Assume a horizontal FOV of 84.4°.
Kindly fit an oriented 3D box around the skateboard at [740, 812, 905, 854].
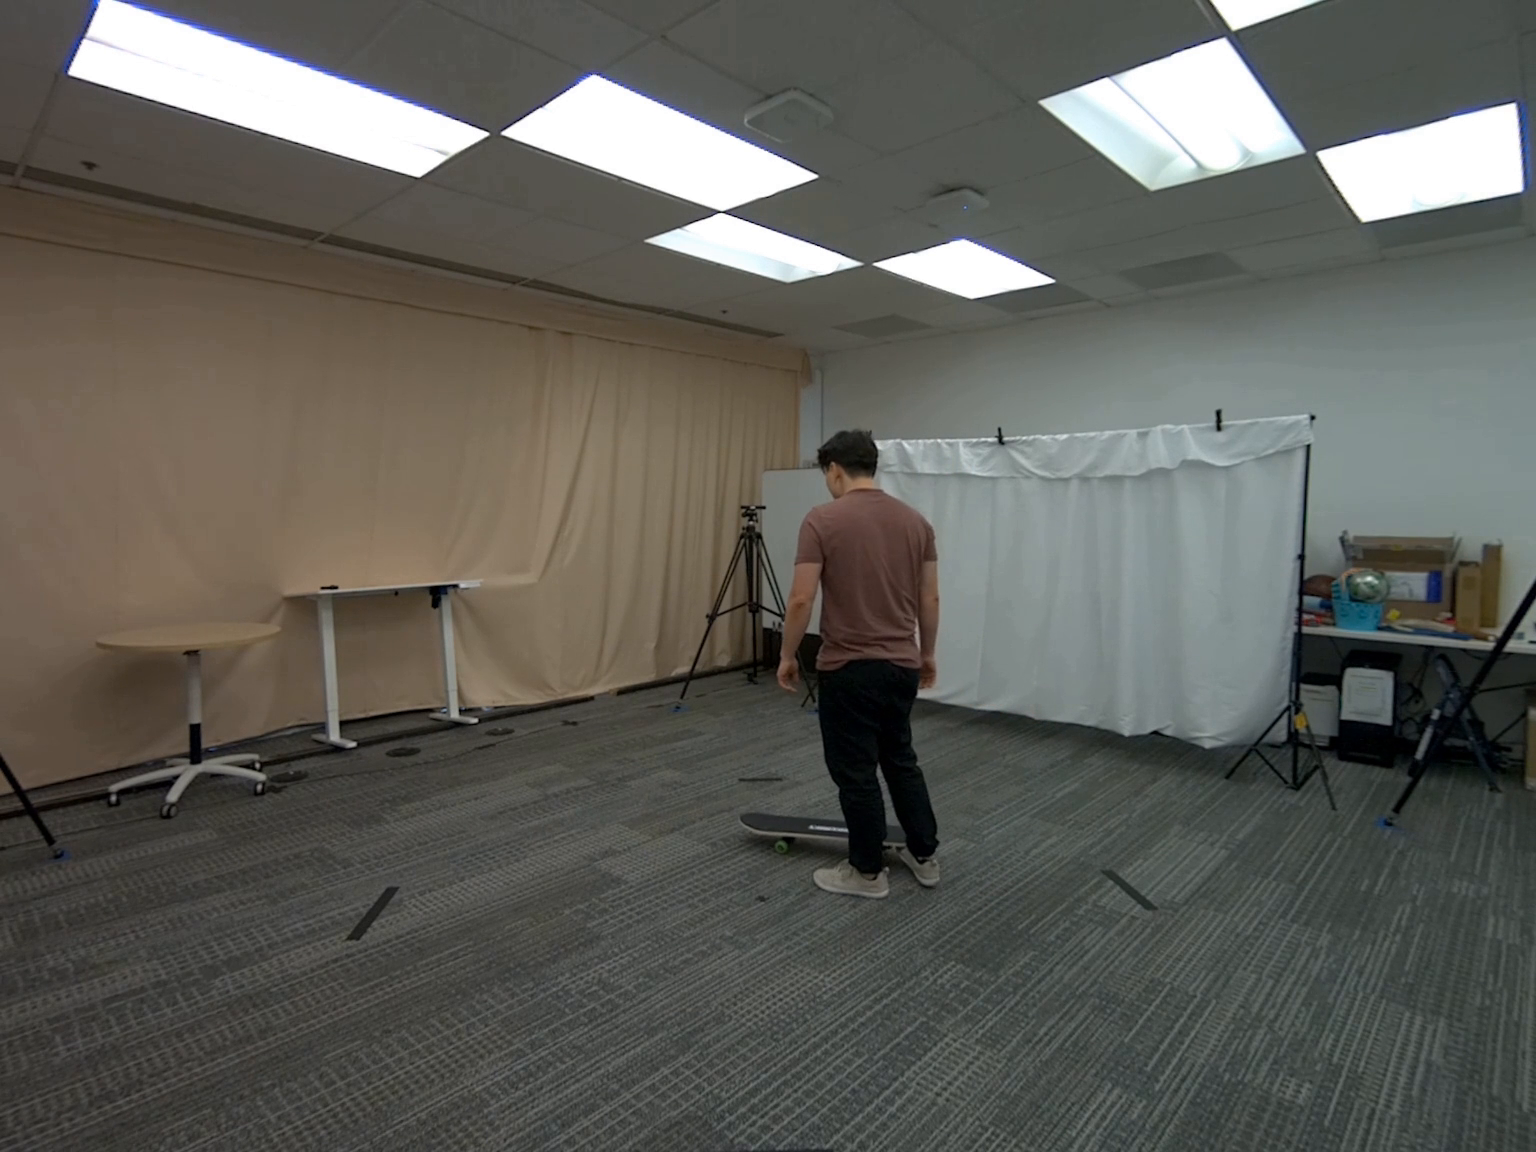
[{"bbox_3d":[0.265,1.043,3.374,0.800,0.110,0.190,0,4,18],"label":"skateboard"}]
